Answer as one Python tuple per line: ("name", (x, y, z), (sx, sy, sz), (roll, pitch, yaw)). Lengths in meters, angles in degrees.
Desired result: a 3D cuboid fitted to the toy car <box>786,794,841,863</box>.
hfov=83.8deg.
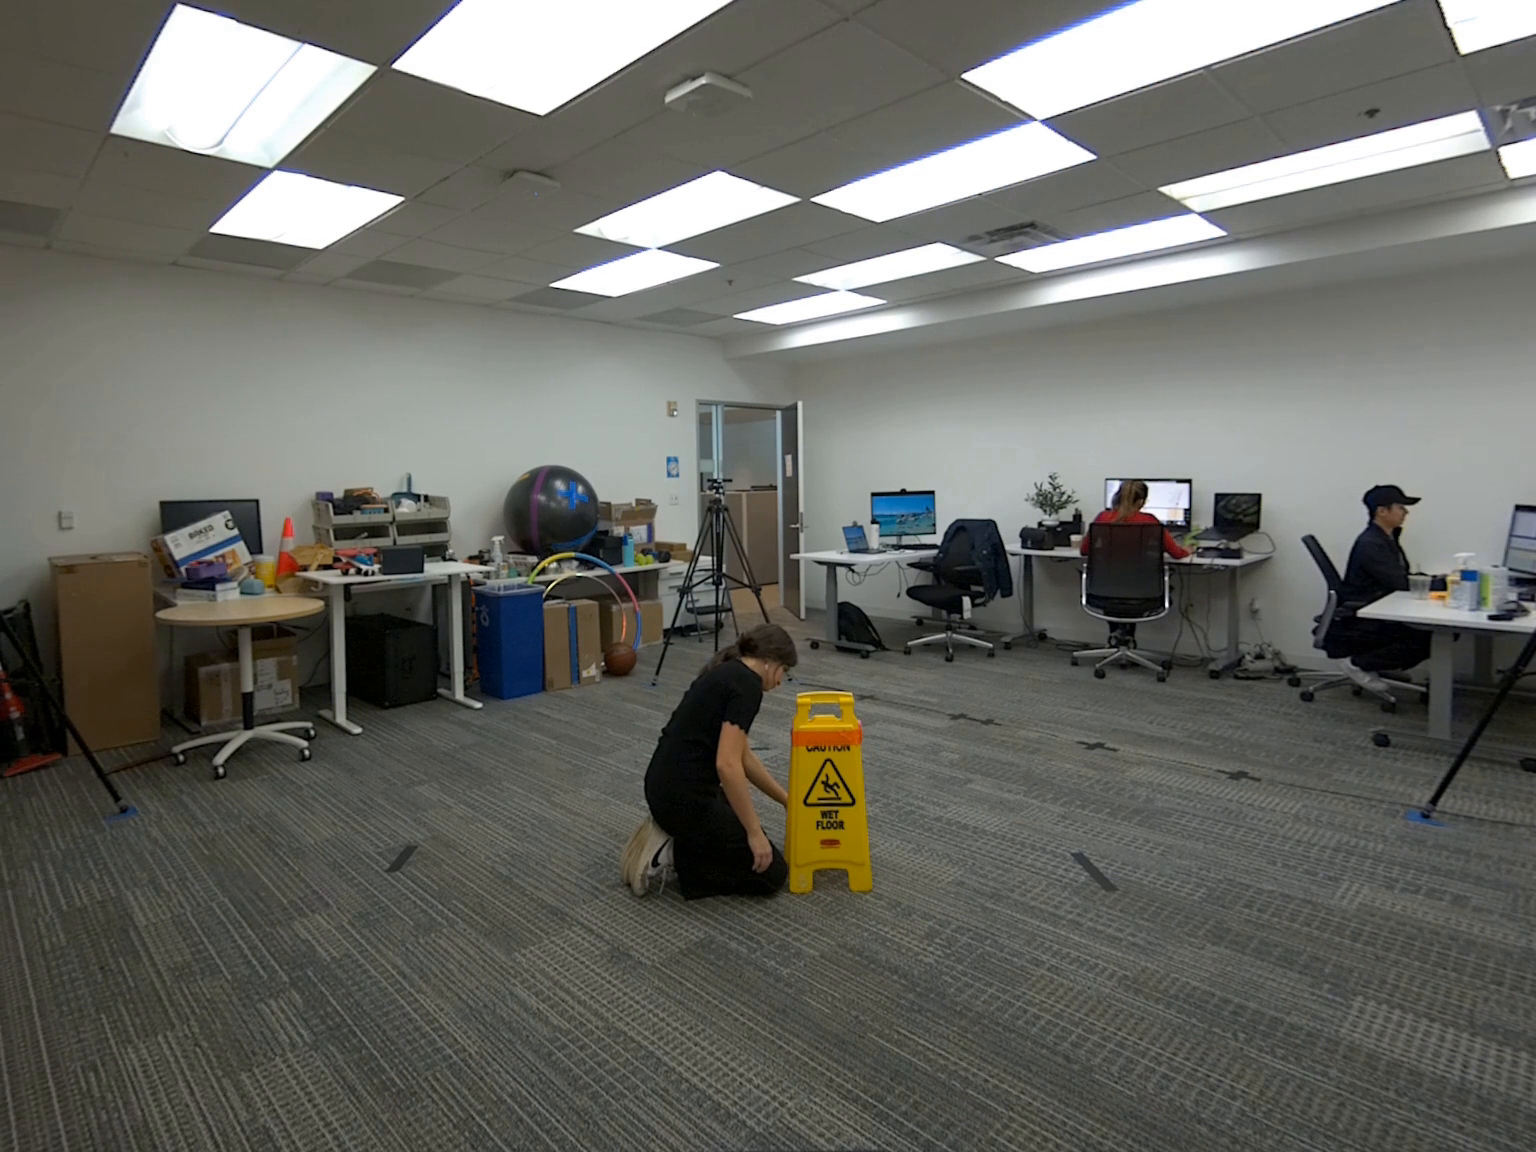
("toy car", (0.163, 0.933, 3.167), (0.129, 0.250, 0.085), (13, 33, -6))
